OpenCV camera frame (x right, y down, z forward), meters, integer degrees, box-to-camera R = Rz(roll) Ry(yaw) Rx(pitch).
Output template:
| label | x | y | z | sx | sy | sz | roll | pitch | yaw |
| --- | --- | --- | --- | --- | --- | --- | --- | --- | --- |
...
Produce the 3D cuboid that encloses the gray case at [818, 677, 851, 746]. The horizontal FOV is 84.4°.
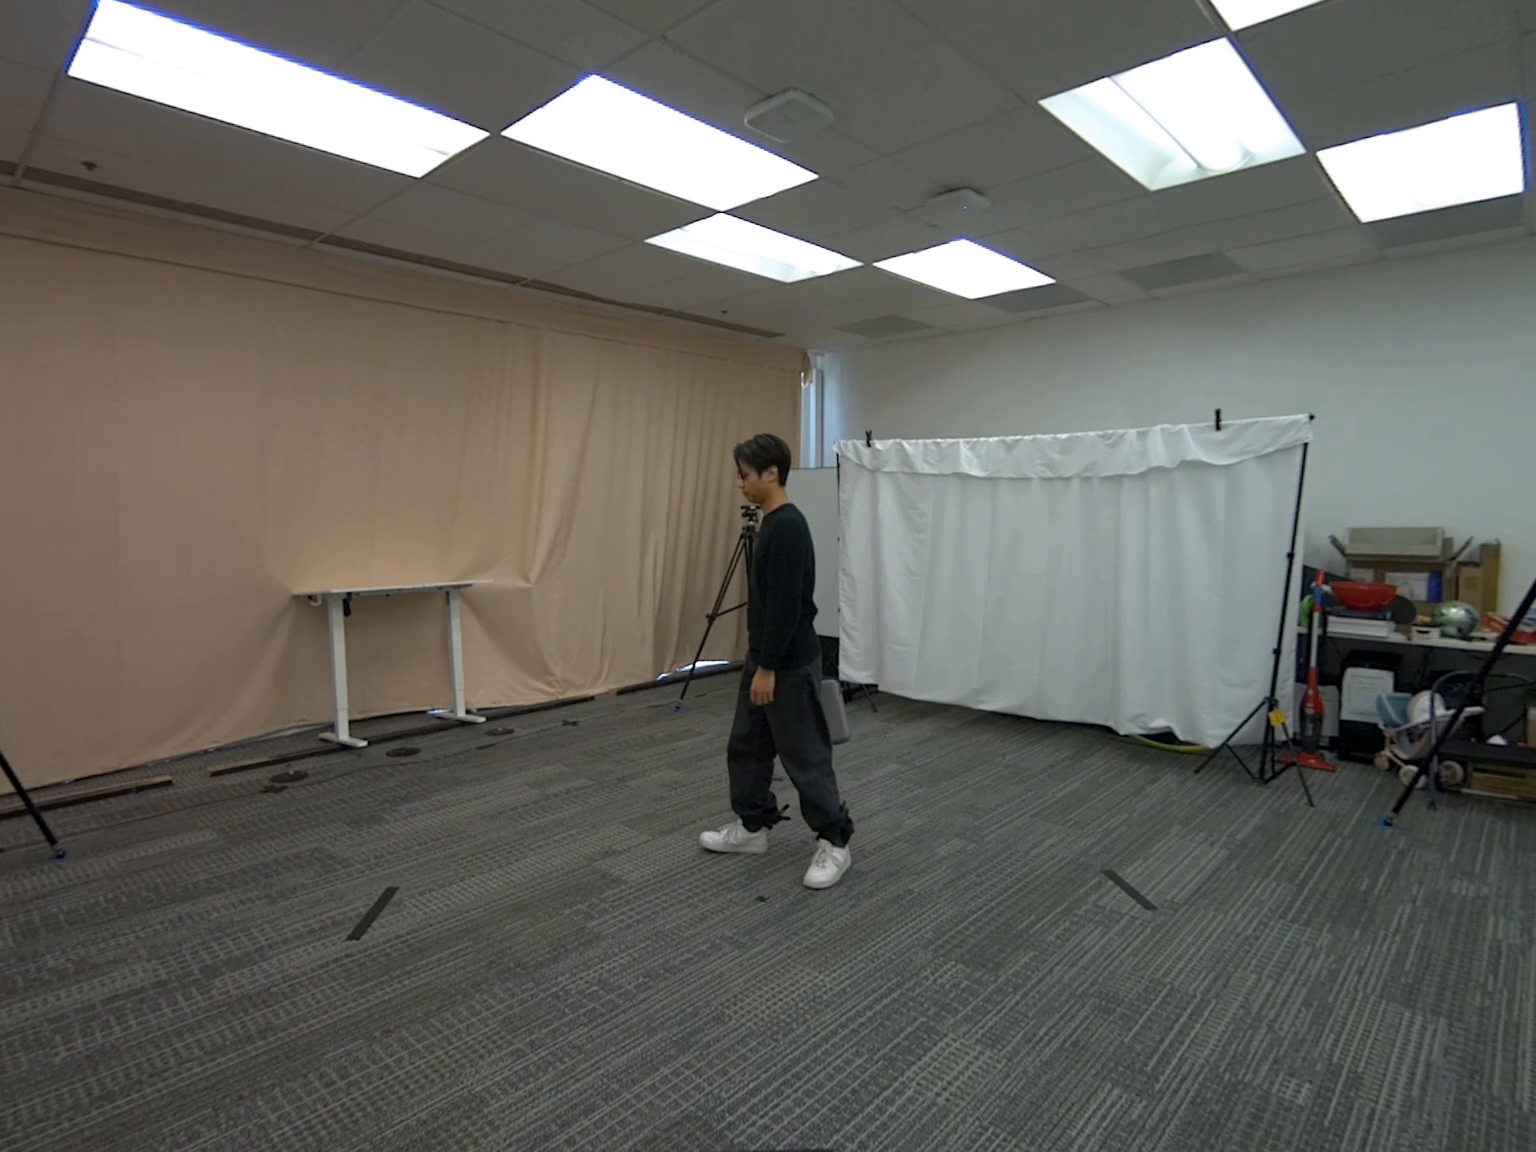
| label | x | y | z | sx | sy | sz | roll | pitch | yaw |
| --- | --- | --- | --- | --- | --- | --- | --- | --- | --- |
| gray case | 0.185 | 0.563 | 3.434 | 0.259 | 0.263 | 0.102 | -15 | -13 | 10 |
